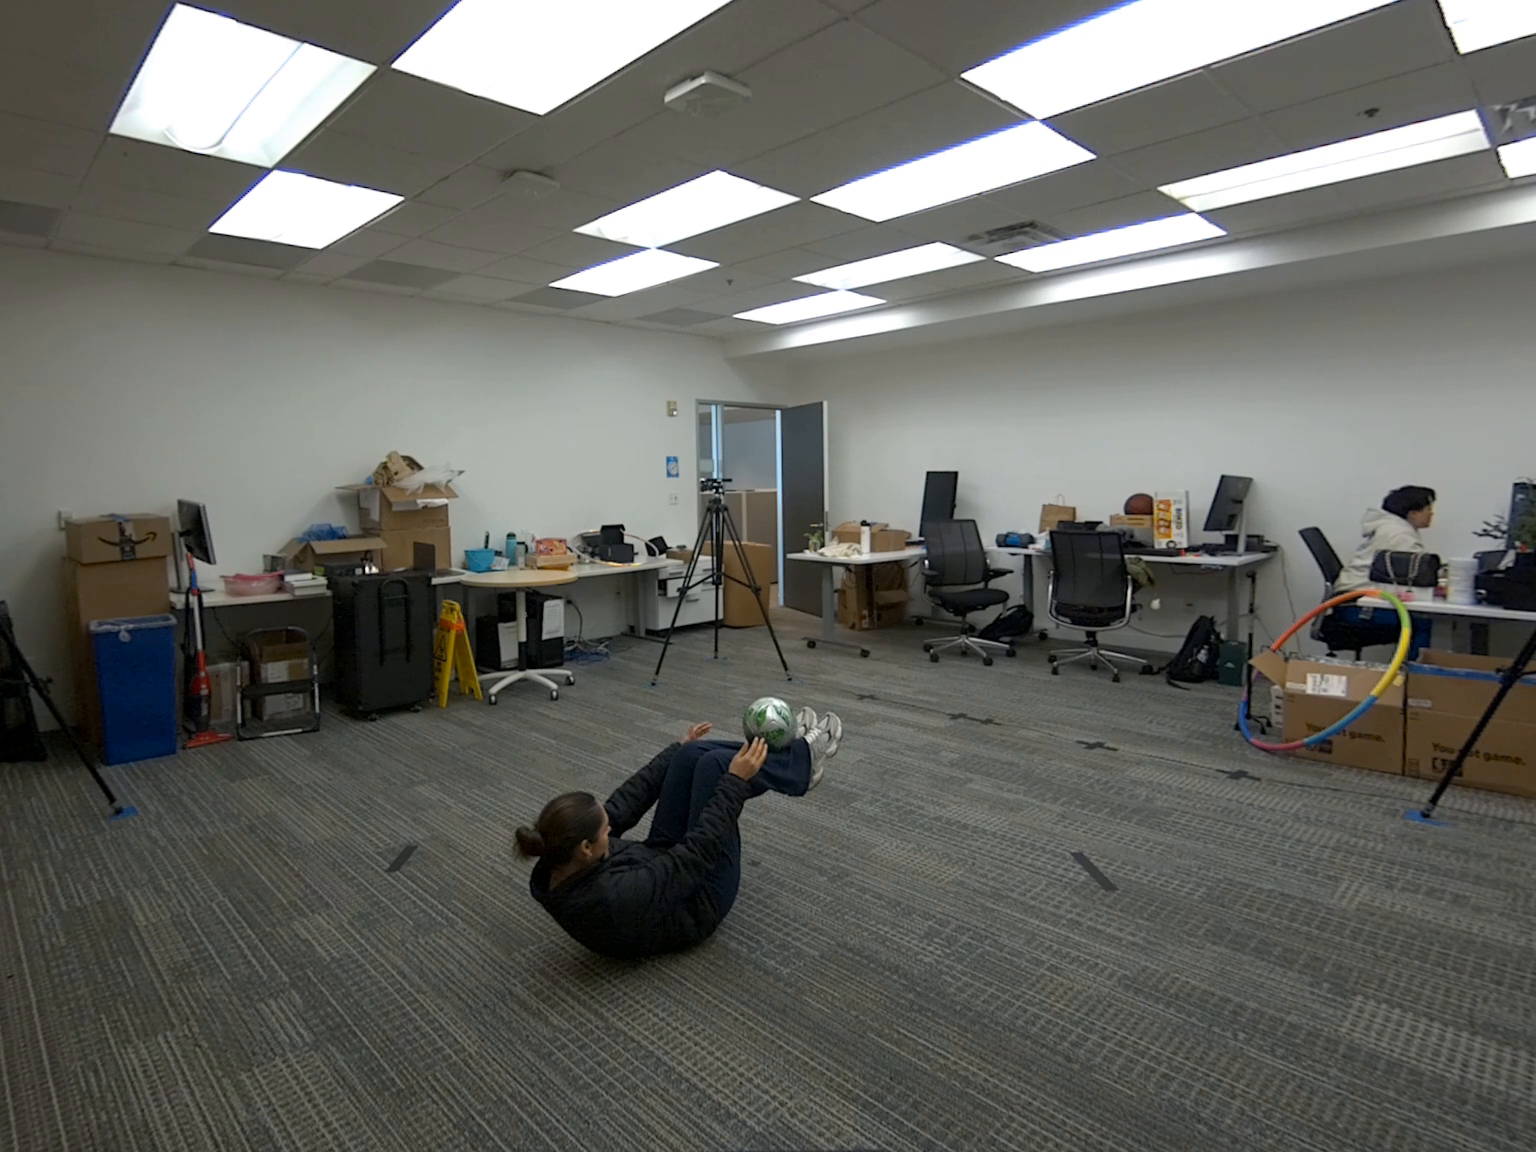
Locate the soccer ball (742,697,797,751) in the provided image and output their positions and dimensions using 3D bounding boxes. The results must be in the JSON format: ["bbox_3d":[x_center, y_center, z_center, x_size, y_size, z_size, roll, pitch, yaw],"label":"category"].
[{"bbox_3d":[0.013,0.499,2.886,0.187,0.187,0.188,0,1,-2],"label":"soccer ball"}]
